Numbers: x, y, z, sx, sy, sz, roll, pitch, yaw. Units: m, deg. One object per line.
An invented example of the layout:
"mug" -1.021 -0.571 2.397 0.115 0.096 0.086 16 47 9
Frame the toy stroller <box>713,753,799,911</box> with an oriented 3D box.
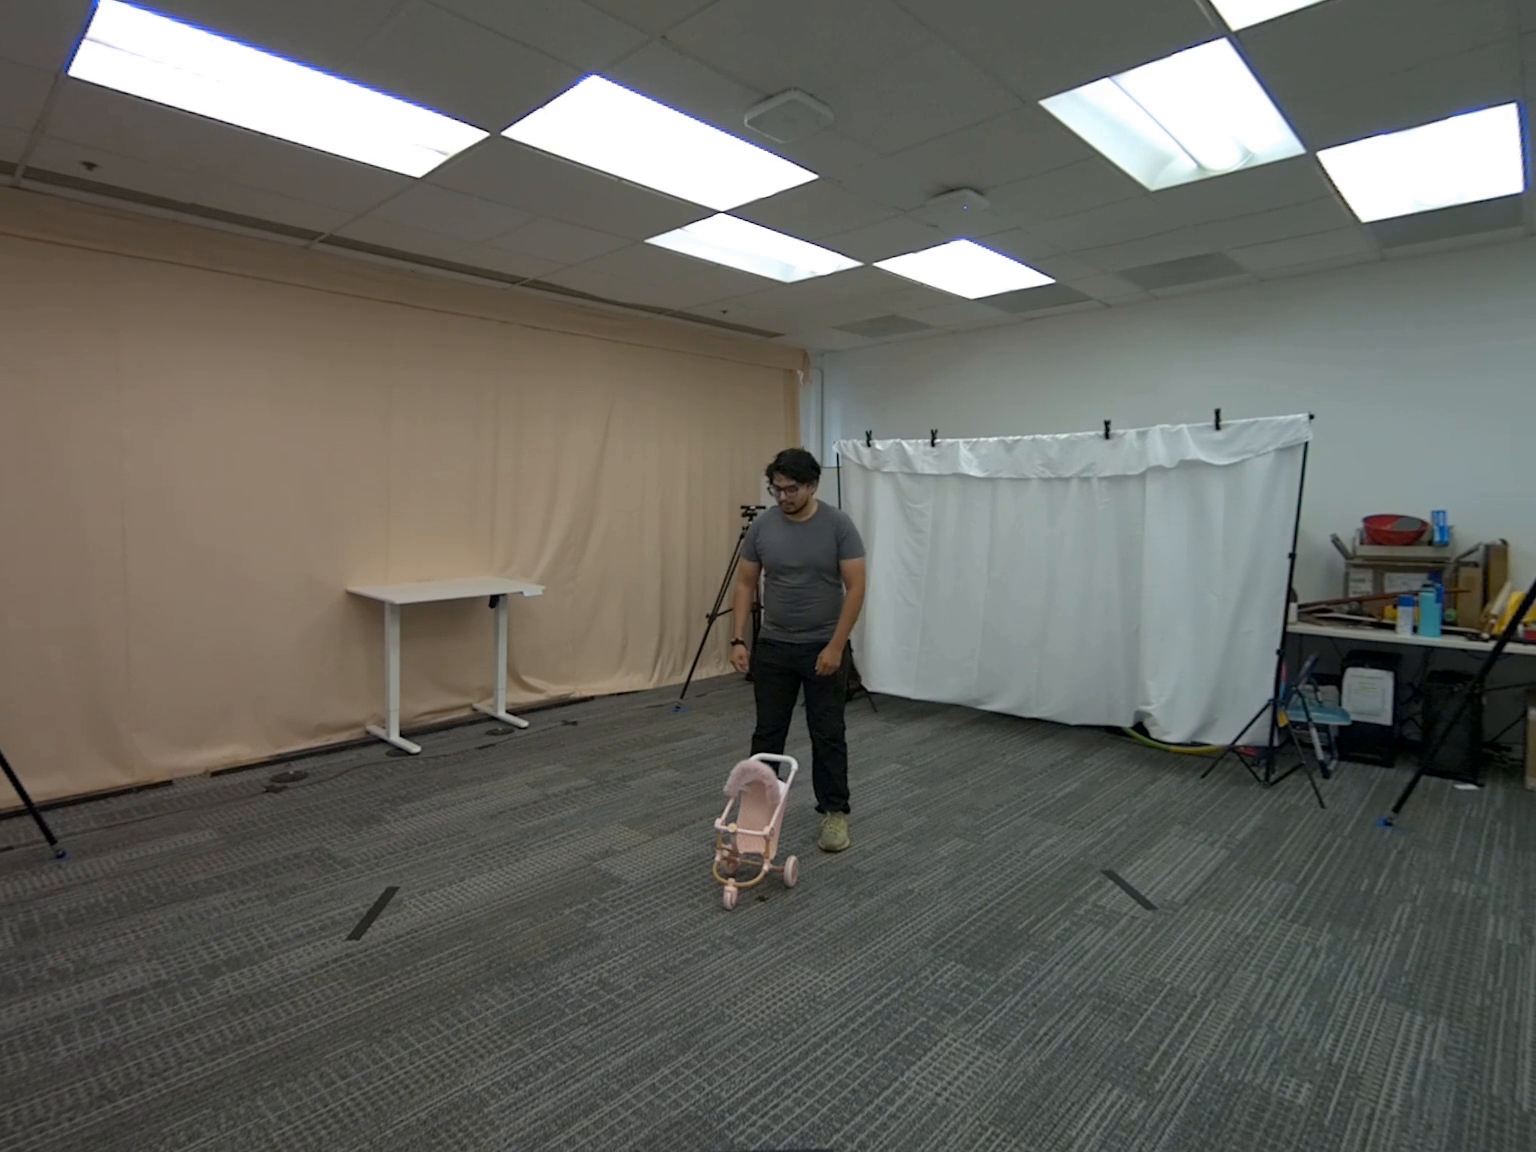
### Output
"toy stroller" -0.058 0.914 3.069 0.289 0.538 0.330 1 -13 29
